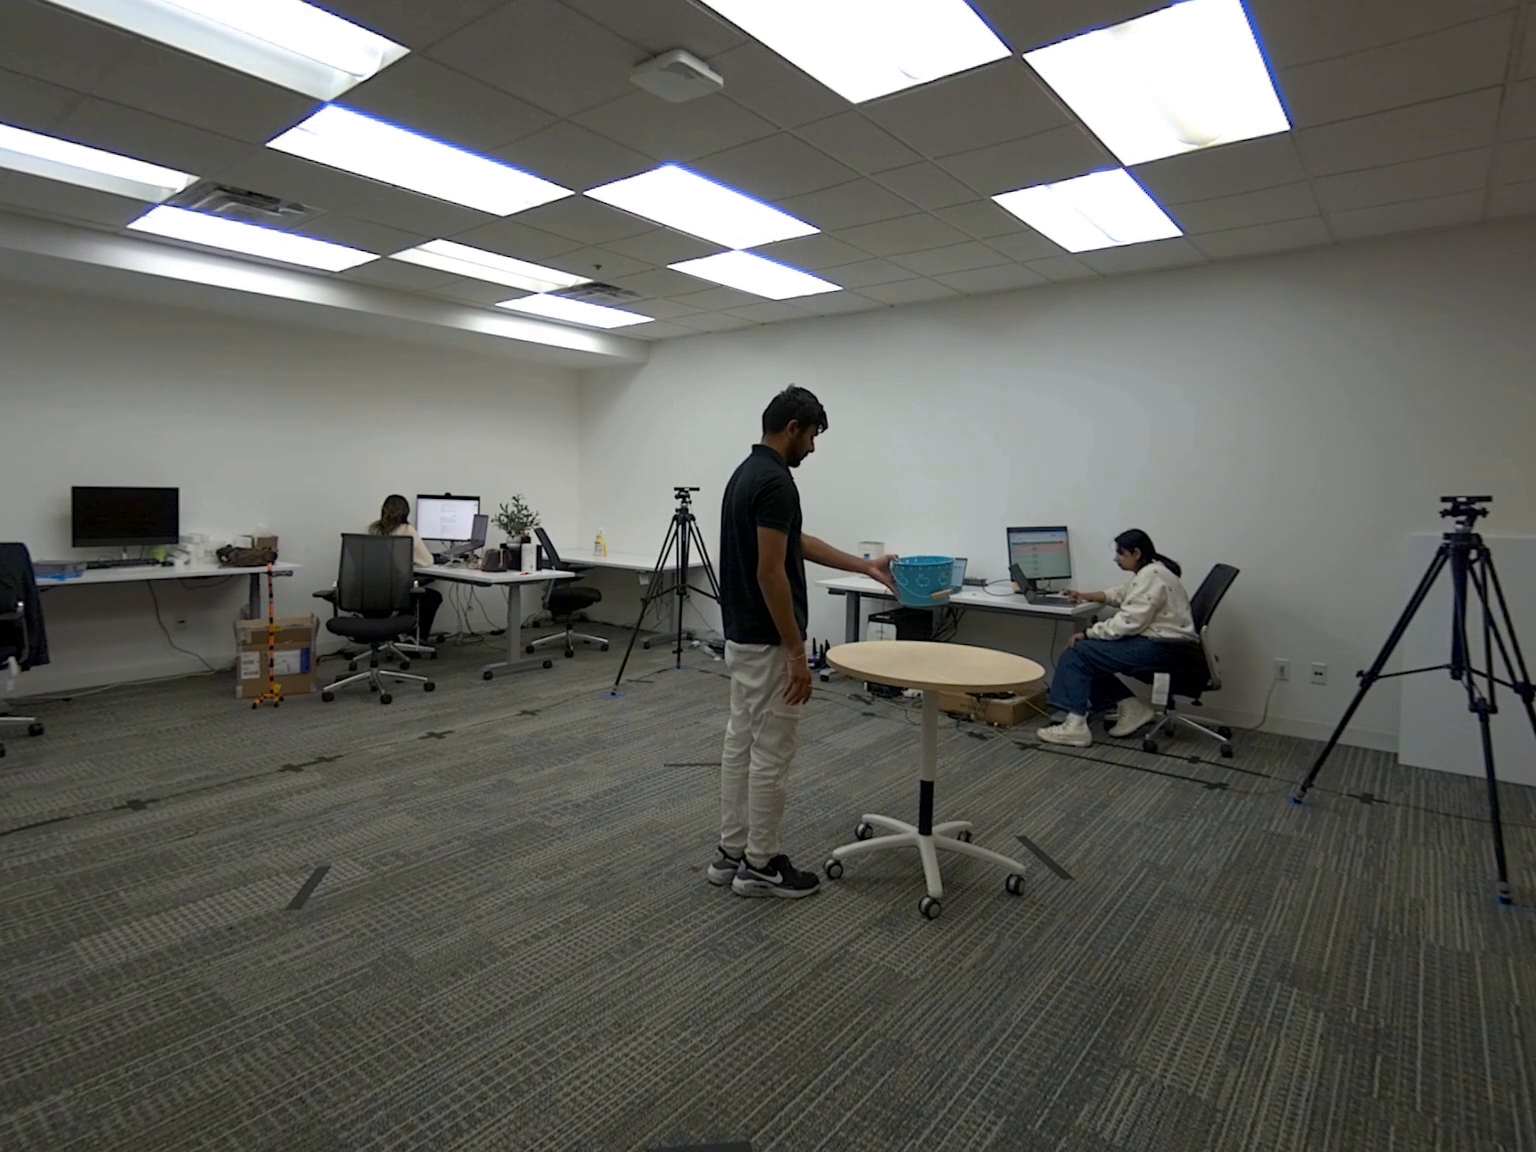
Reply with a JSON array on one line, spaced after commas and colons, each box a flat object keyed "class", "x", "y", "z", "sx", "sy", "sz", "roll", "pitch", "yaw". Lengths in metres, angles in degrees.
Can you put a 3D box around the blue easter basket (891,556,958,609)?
[{"class": "blue easter basket", "x": 0.552, "y": 0.018, "z": 3.083, "sx": 0.243, "sy": 0.155, "sz": 0.245, "roll": -4, "pitch": 7, "yaw": -1}]
